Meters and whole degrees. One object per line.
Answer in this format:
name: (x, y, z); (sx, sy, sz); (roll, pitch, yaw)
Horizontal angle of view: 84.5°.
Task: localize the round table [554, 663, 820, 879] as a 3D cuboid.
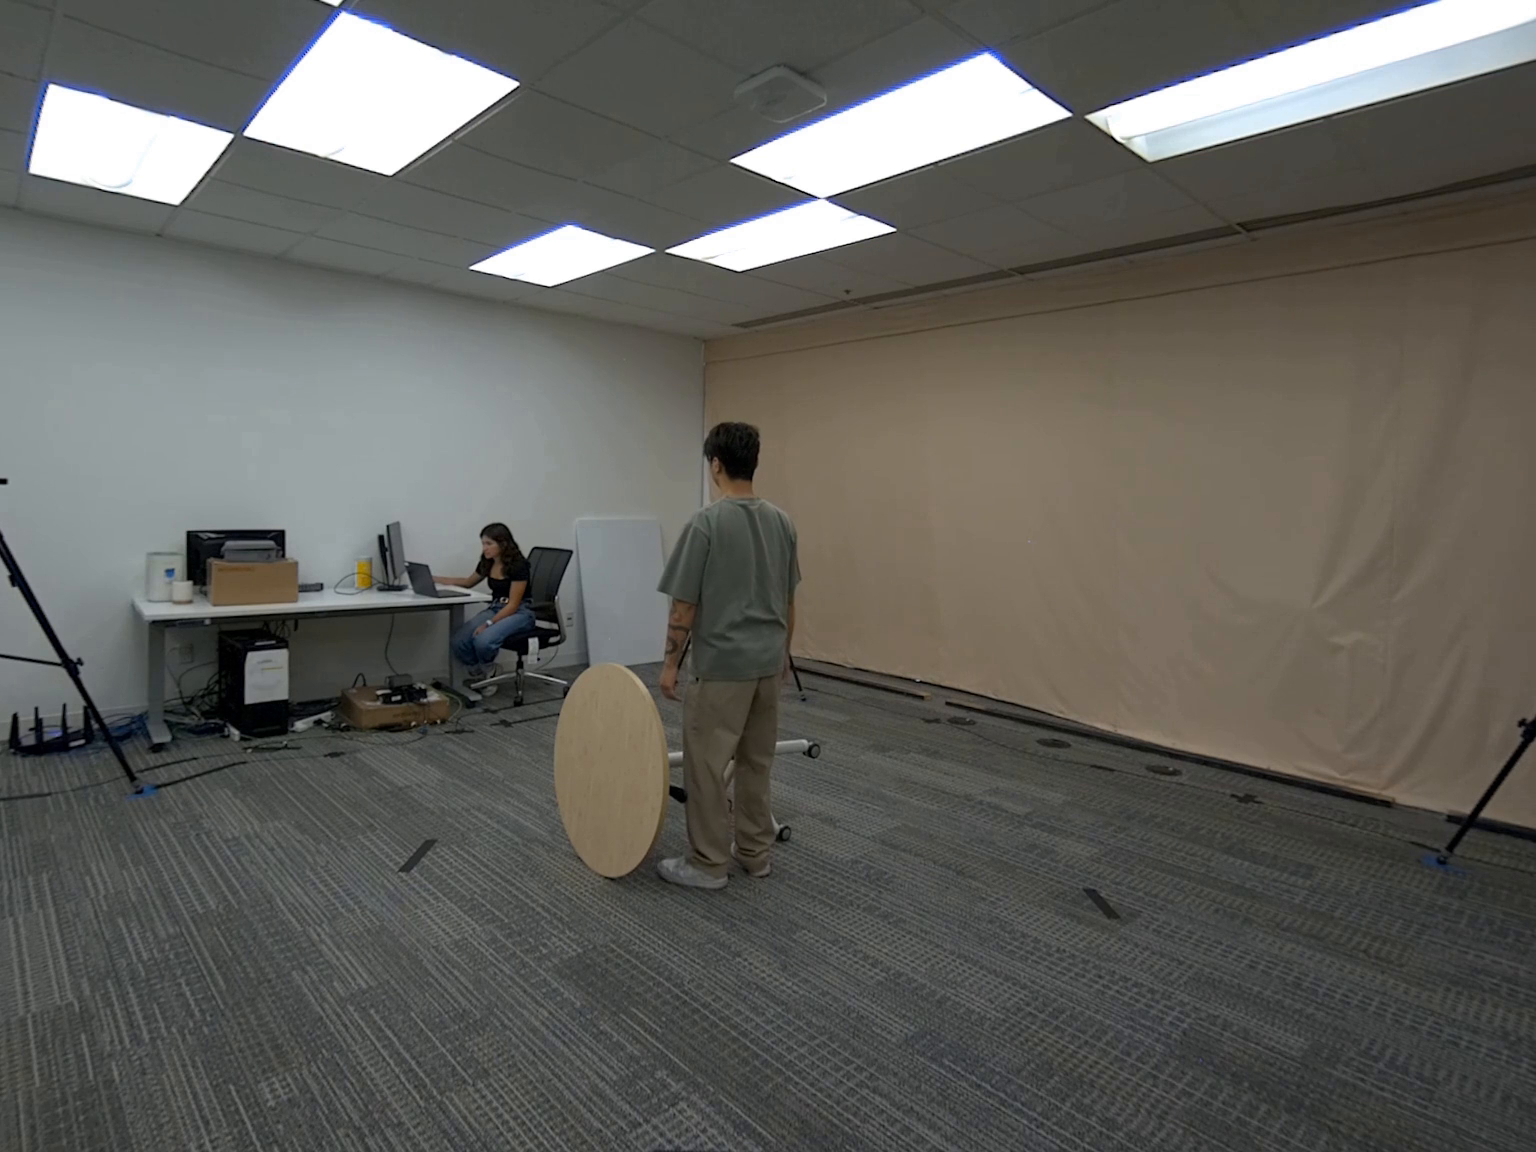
round table: (-0.327, 0.734, 3.382); (0.766, 0.785, 0.805); (6, 0, -41)
